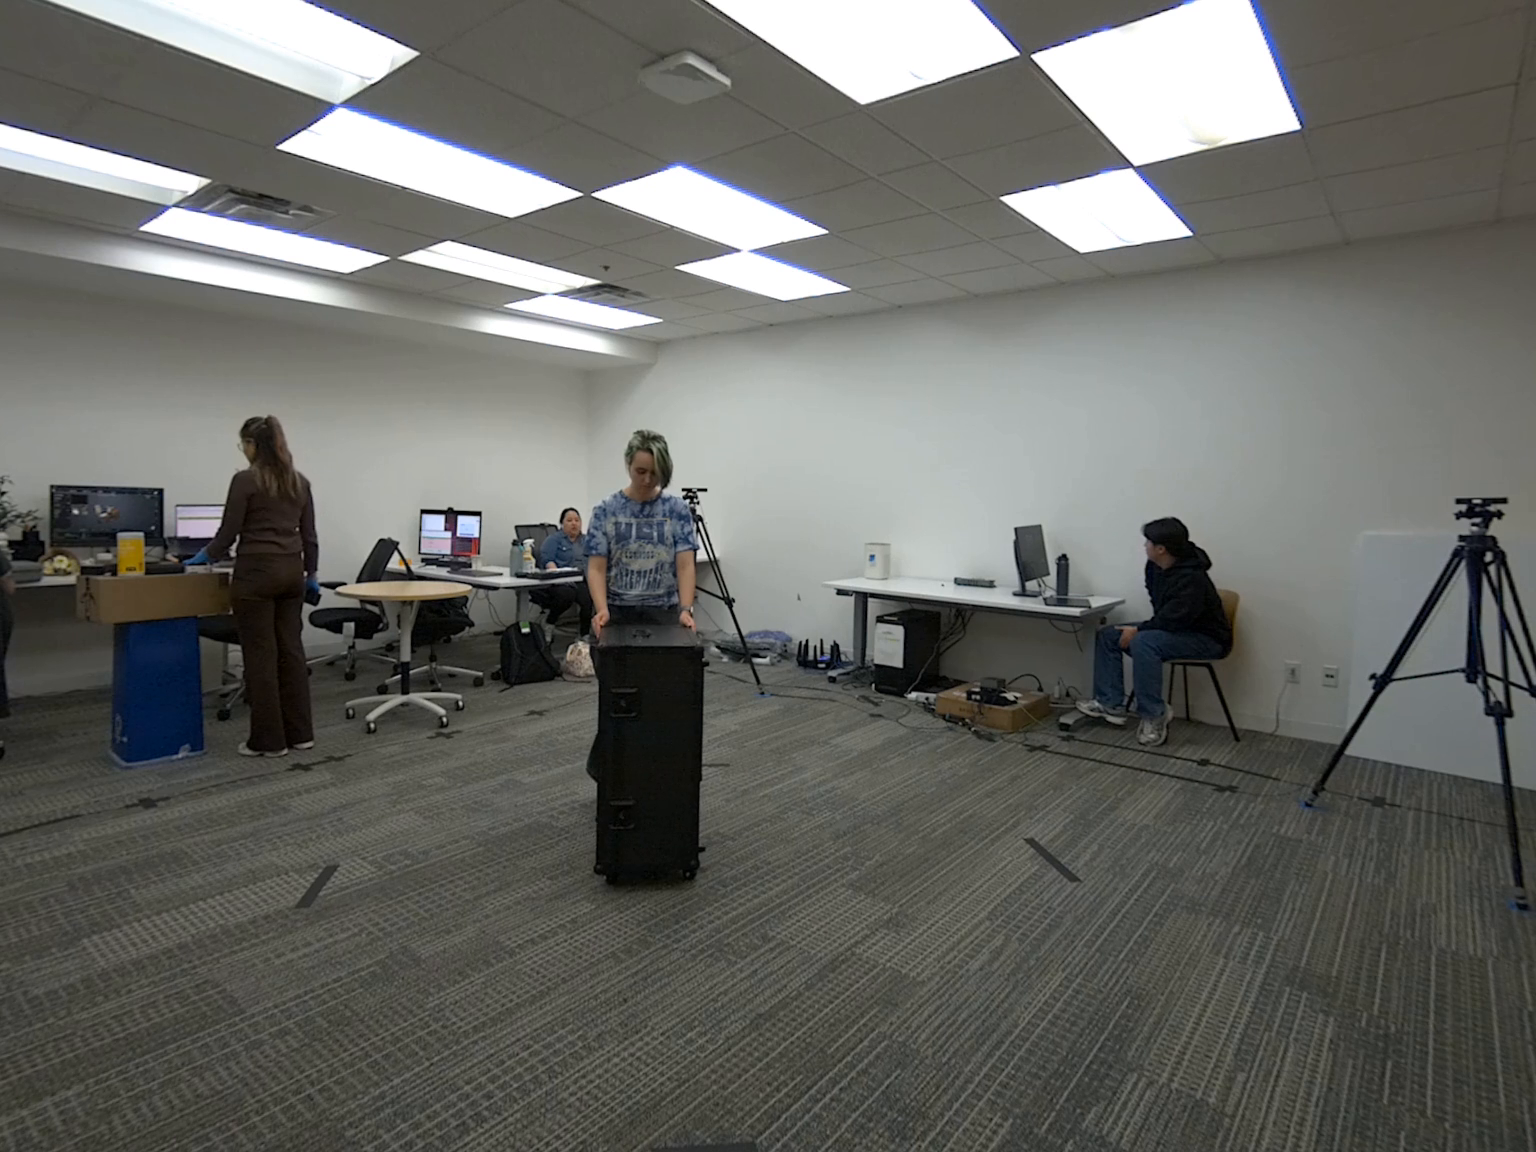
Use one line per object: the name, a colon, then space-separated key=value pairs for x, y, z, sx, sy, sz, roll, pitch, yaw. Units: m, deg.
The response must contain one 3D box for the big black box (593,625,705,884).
big black box: x=-0.450 y=0.645 z=3.144 sx=0.393 sy=0.860 sz=0.527 roll=1 pitch=2 yaw=-10
